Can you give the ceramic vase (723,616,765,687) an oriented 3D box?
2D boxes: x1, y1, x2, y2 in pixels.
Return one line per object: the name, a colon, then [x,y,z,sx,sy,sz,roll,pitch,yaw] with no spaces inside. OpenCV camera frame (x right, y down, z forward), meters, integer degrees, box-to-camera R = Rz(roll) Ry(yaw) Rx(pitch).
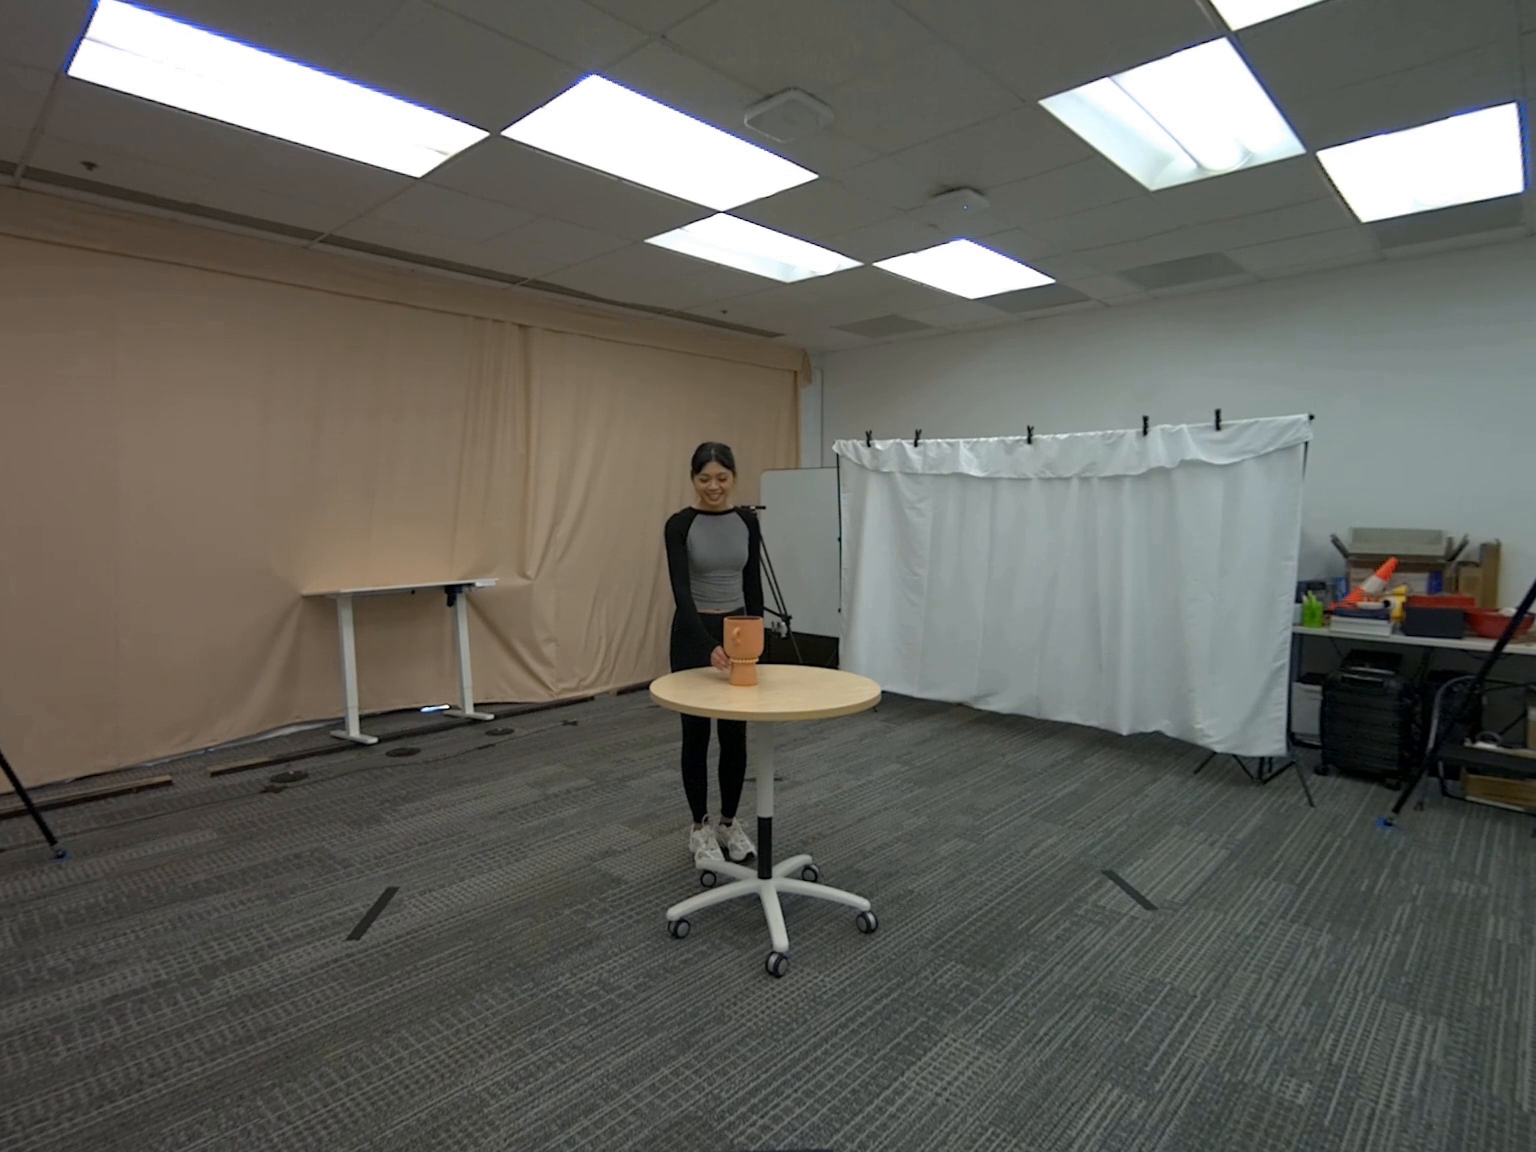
ceramic vase: [-0.083,0.253,2.841,0.154,0.219,0.139,-3,4,-33]
